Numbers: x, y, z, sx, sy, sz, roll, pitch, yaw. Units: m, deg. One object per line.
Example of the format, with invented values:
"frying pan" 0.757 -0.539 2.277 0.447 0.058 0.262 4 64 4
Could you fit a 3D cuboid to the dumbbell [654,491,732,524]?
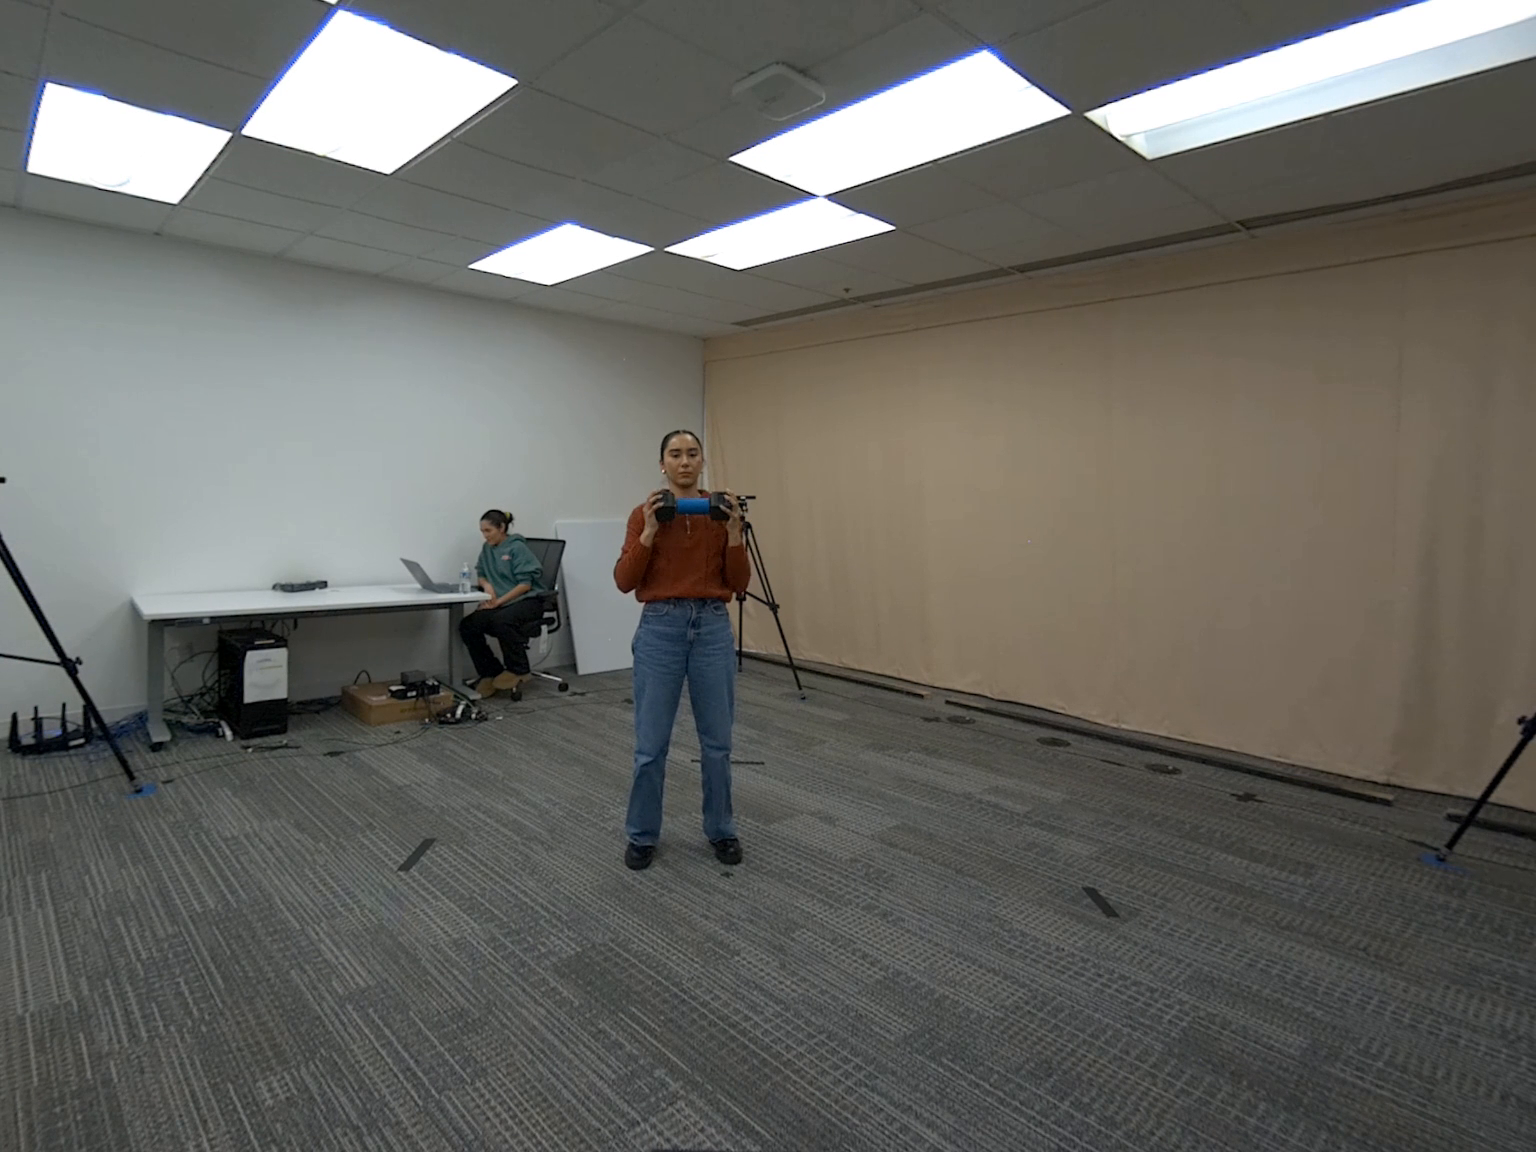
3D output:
"dumbbell" -0.296 -0.253 3.116 0.292 0.126 0.106 -10 -31 -6
